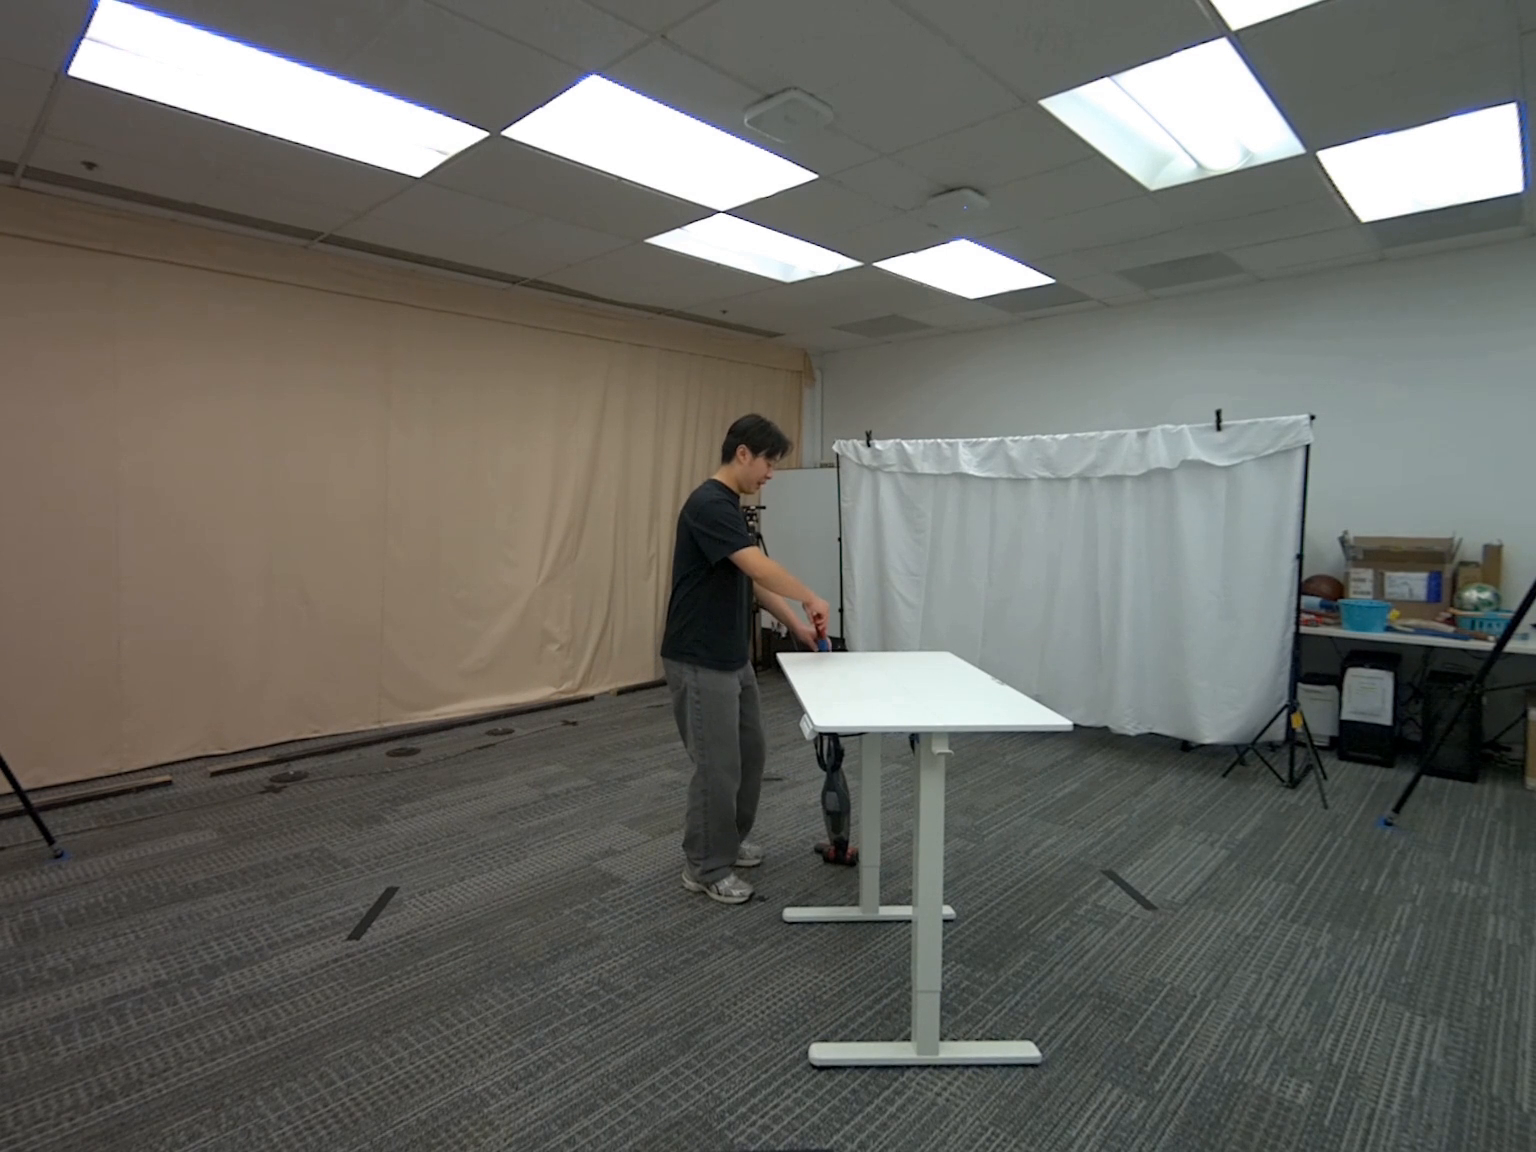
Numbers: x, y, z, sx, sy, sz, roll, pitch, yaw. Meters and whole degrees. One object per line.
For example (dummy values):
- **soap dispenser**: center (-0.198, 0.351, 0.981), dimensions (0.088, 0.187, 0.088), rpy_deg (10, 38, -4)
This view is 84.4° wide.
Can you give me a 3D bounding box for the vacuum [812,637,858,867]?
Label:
- **vacuum**: center (0.239, 0.628, 3.130), dimensions (0.257, 1.033, 0.143), rpy_deg (-1, 21, 17)
